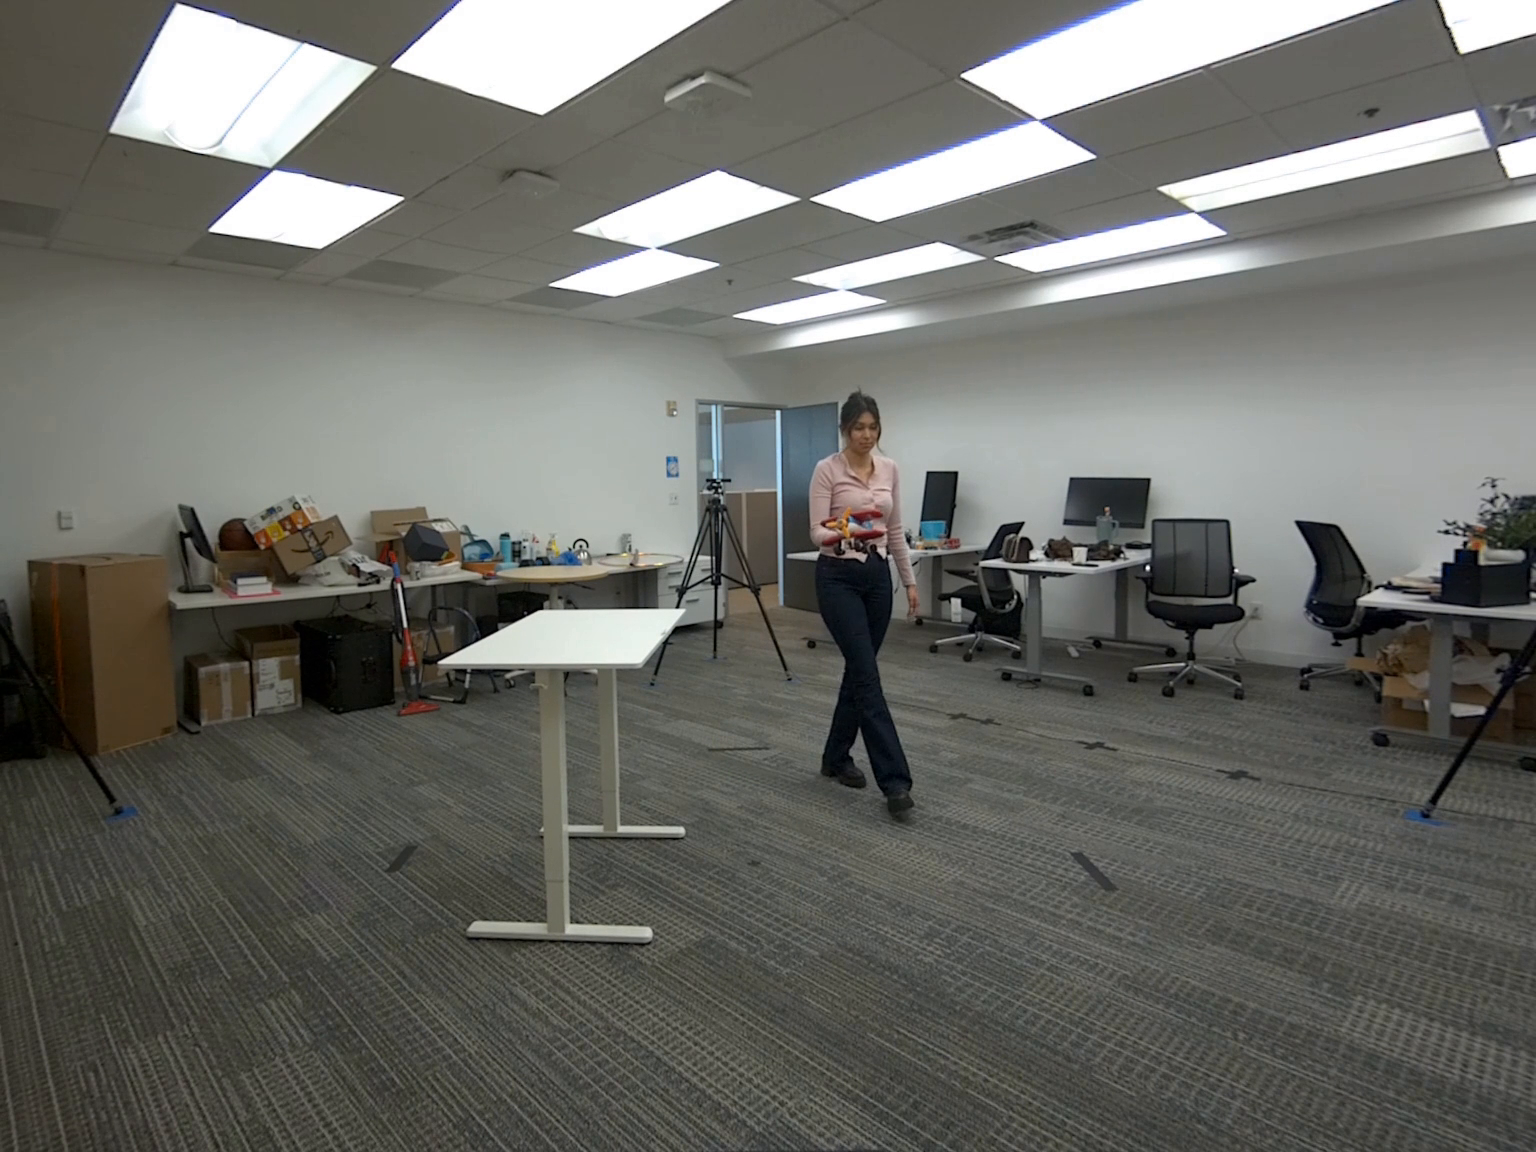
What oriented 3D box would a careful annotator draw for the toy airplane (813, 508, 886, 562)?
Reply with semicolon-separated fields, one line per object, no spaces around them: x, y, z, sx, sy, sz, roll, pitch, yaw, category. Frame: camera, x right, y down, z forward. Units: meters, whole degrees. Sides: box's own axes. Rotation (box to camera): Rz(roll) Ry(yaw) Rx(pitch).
0.325;-0.160;3.314;0.252;0.157;0.257;-10;-4;5;toy airplane
